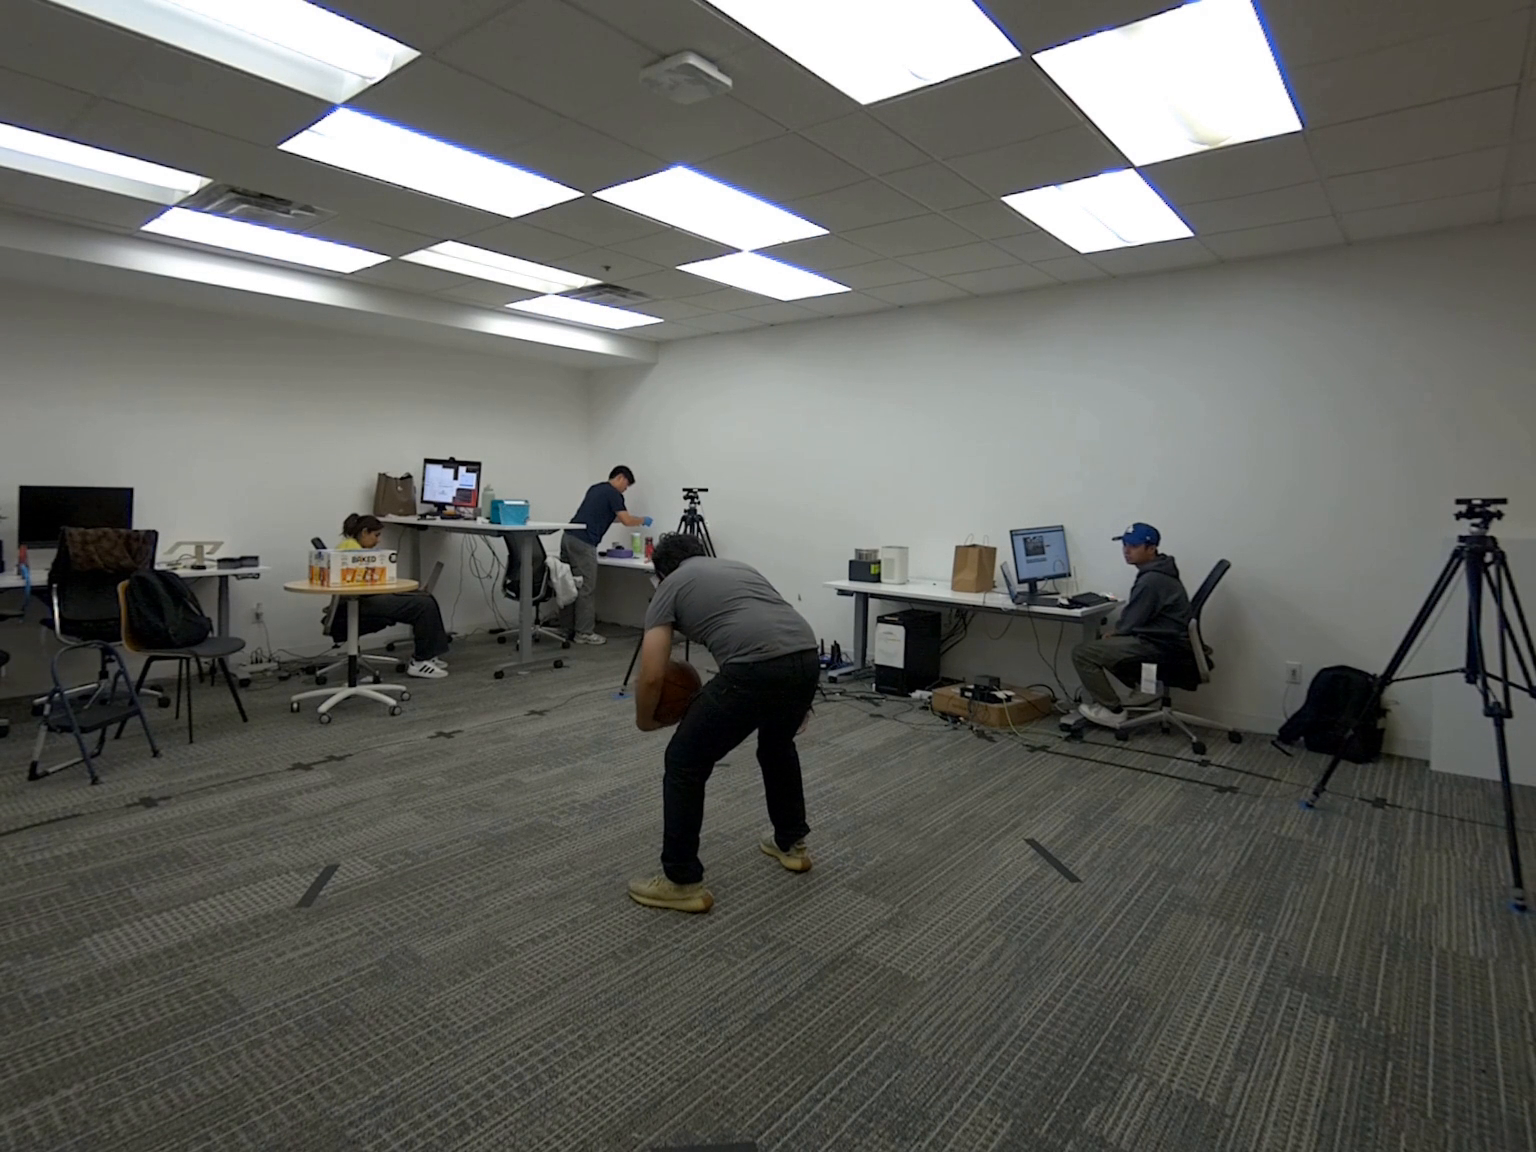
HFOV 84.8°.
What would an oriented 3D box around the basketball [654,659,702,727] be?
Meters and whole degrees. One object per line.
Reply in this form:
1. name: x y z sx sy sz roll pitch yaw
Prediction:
1. basketball: -0.372 0.407 3.142 0.235 0.235 0.237 1 4 -2
